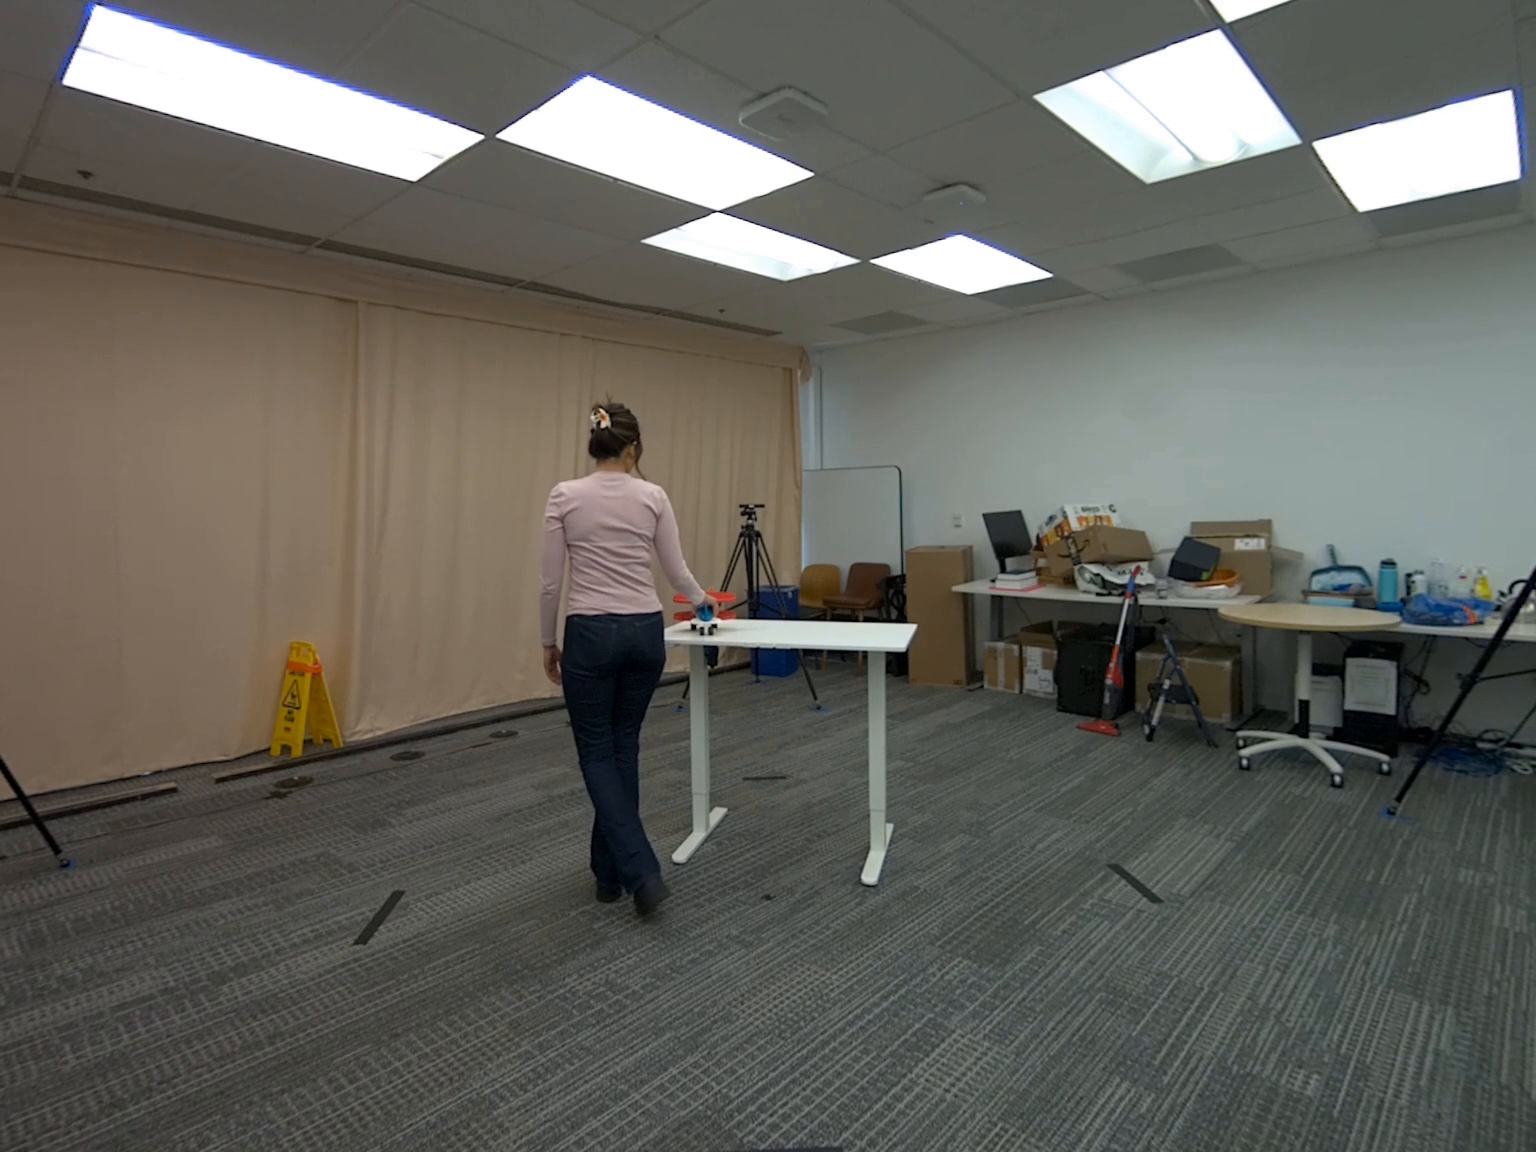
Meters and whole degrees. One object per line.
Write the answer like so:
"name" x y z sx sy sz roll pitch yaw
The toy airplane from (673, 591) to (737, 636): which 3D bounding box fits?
"toy airplane" -0.238 0.151 3.414 0.244 0.156 0.267 -4 4 -32
